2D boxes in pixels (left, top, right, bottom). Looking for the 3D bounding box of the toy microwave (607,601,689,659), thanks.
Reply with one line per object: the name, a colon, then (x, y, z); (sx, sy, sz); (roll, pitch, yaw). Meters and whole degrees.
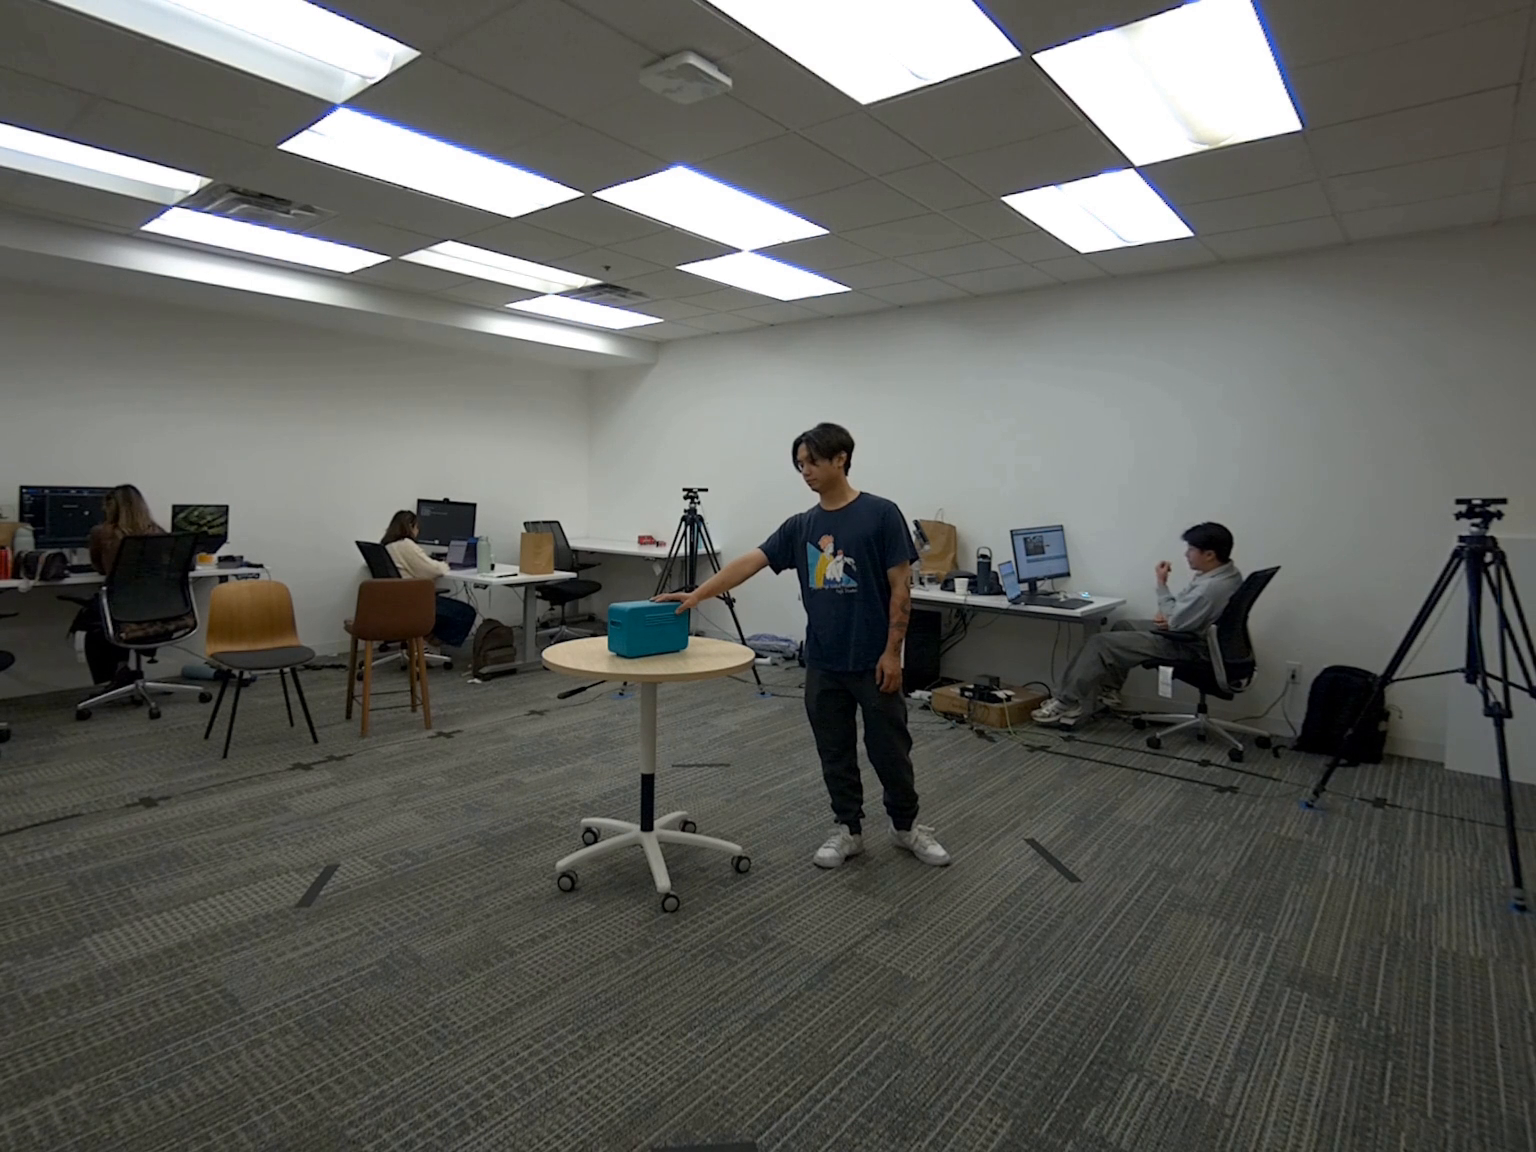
toy microwave: (-0.449, 0.183, 3.071); (0.277, 0.184, 0.157); (-2, 5, -42)
